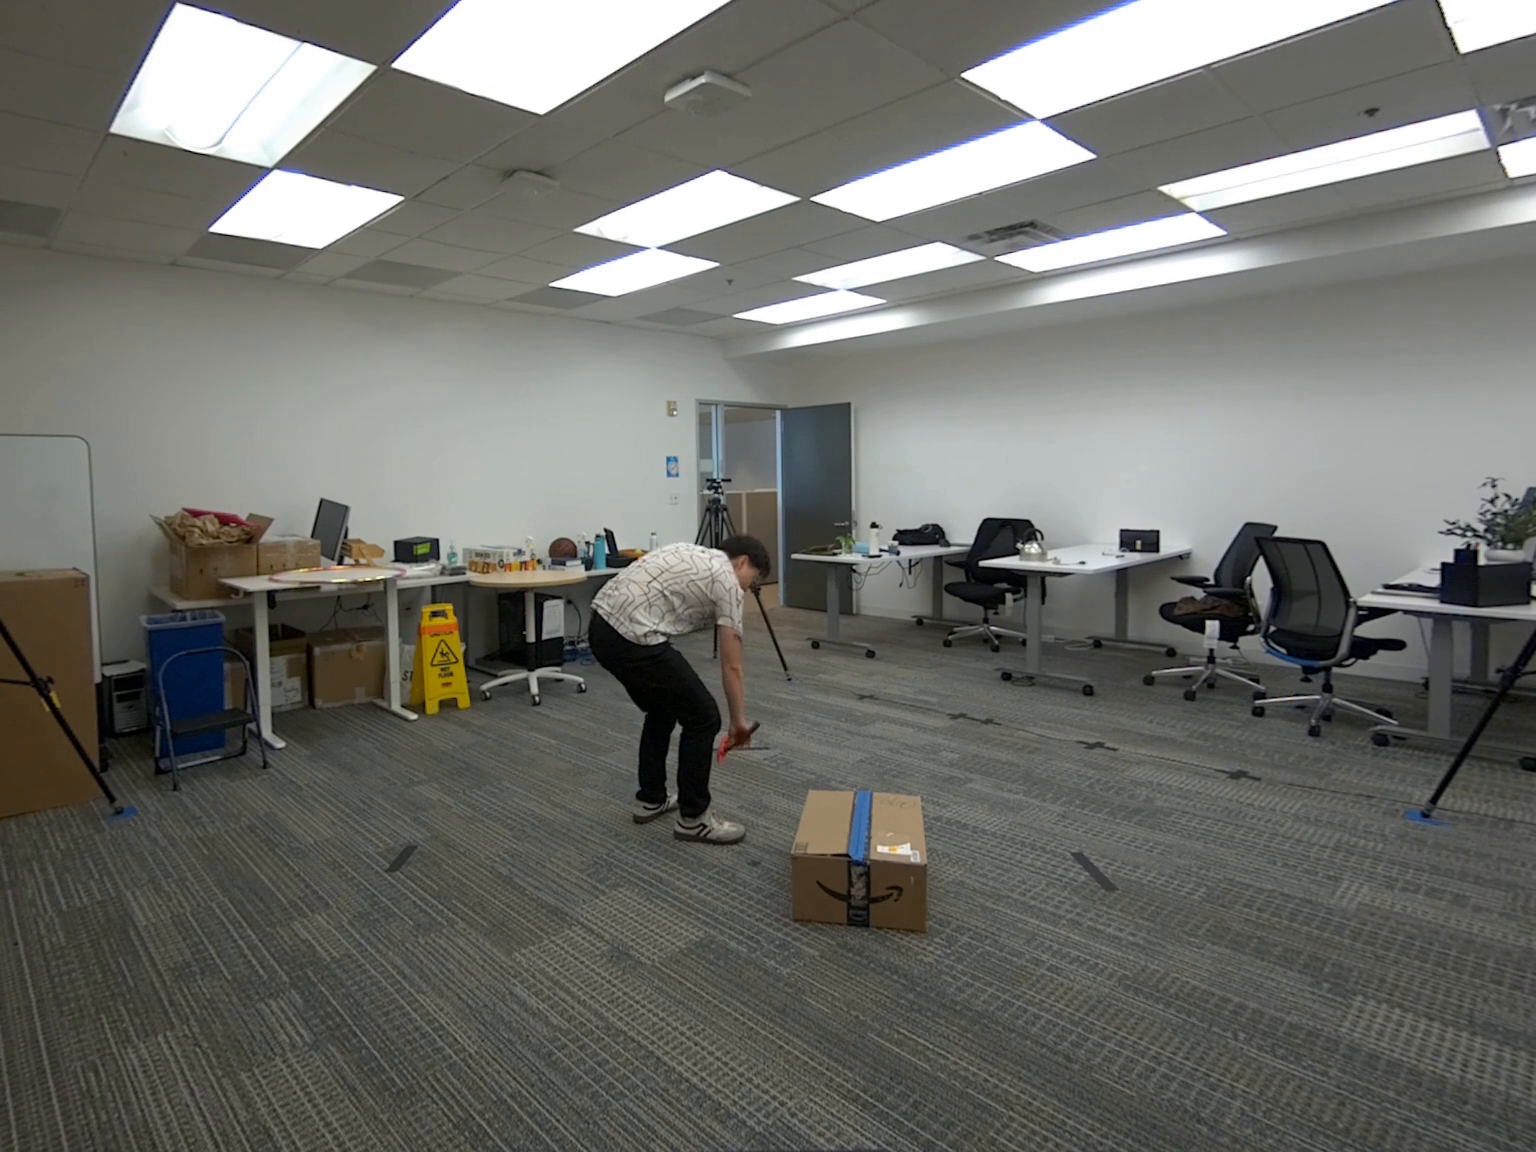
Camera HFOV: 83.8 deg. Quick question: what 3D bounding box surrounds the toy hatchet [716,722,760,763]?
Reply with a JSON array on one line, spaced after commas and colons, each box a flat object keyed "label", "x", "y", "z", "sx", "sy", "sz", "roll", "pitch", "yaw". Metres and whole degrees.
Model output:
[{"label": "toy hatchet", "x": -0.115, "y": 0.662, "z": 3.506, "sx": 0.271, "sy": 0.029, "sz": 0.134, "roll": -38, "pitch": 27, "yaw": 16}]
